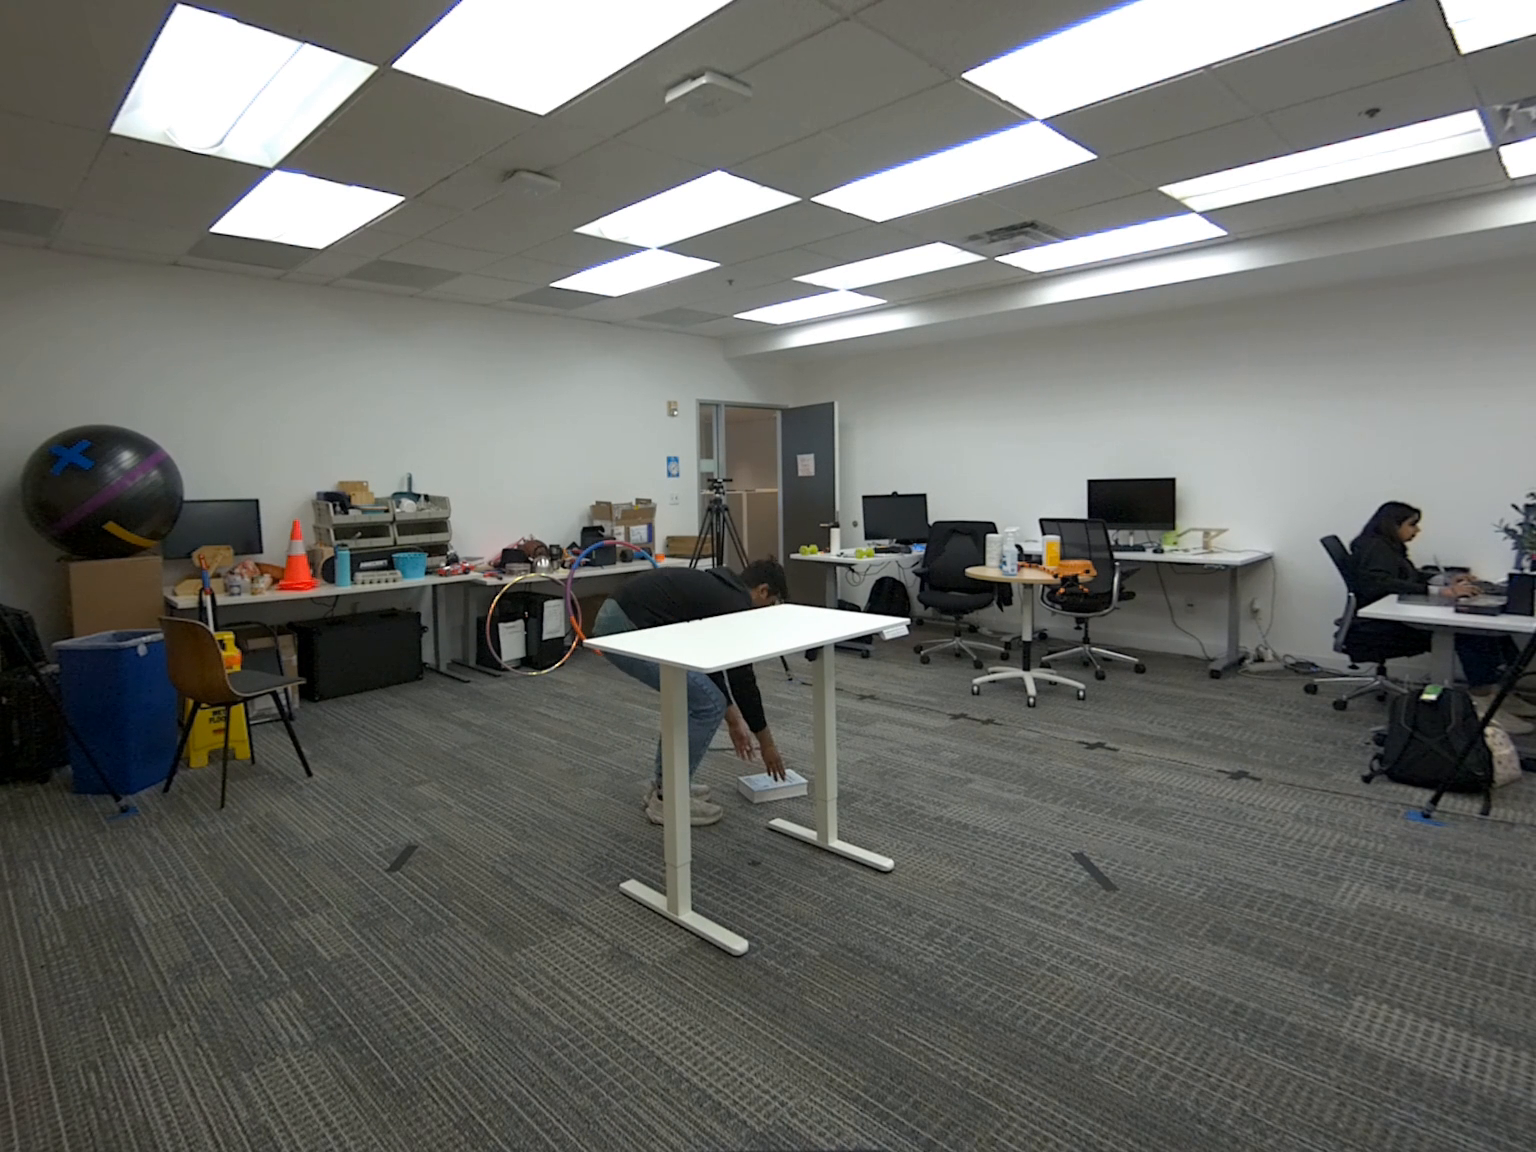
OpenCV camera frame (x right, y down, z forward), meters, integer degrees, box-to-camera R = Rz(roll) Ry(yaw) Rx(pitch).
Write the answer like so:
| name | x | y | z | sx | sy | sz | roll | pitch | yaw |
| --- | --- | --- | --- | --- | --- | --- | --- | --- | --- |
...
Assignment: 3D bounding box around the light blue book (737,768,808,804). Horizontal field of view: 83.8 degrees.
| name | x | y | z | sx | sy | sz | roll | pitch | yaw |
| --- | --- | --- | --- | --- | --- | --- | --- | --- | --- |
| light blue book | 0.017 | 0.928 | 3.799 | 0.256 | 0.059 | 0.196 | -4 | 7 | -22 |
